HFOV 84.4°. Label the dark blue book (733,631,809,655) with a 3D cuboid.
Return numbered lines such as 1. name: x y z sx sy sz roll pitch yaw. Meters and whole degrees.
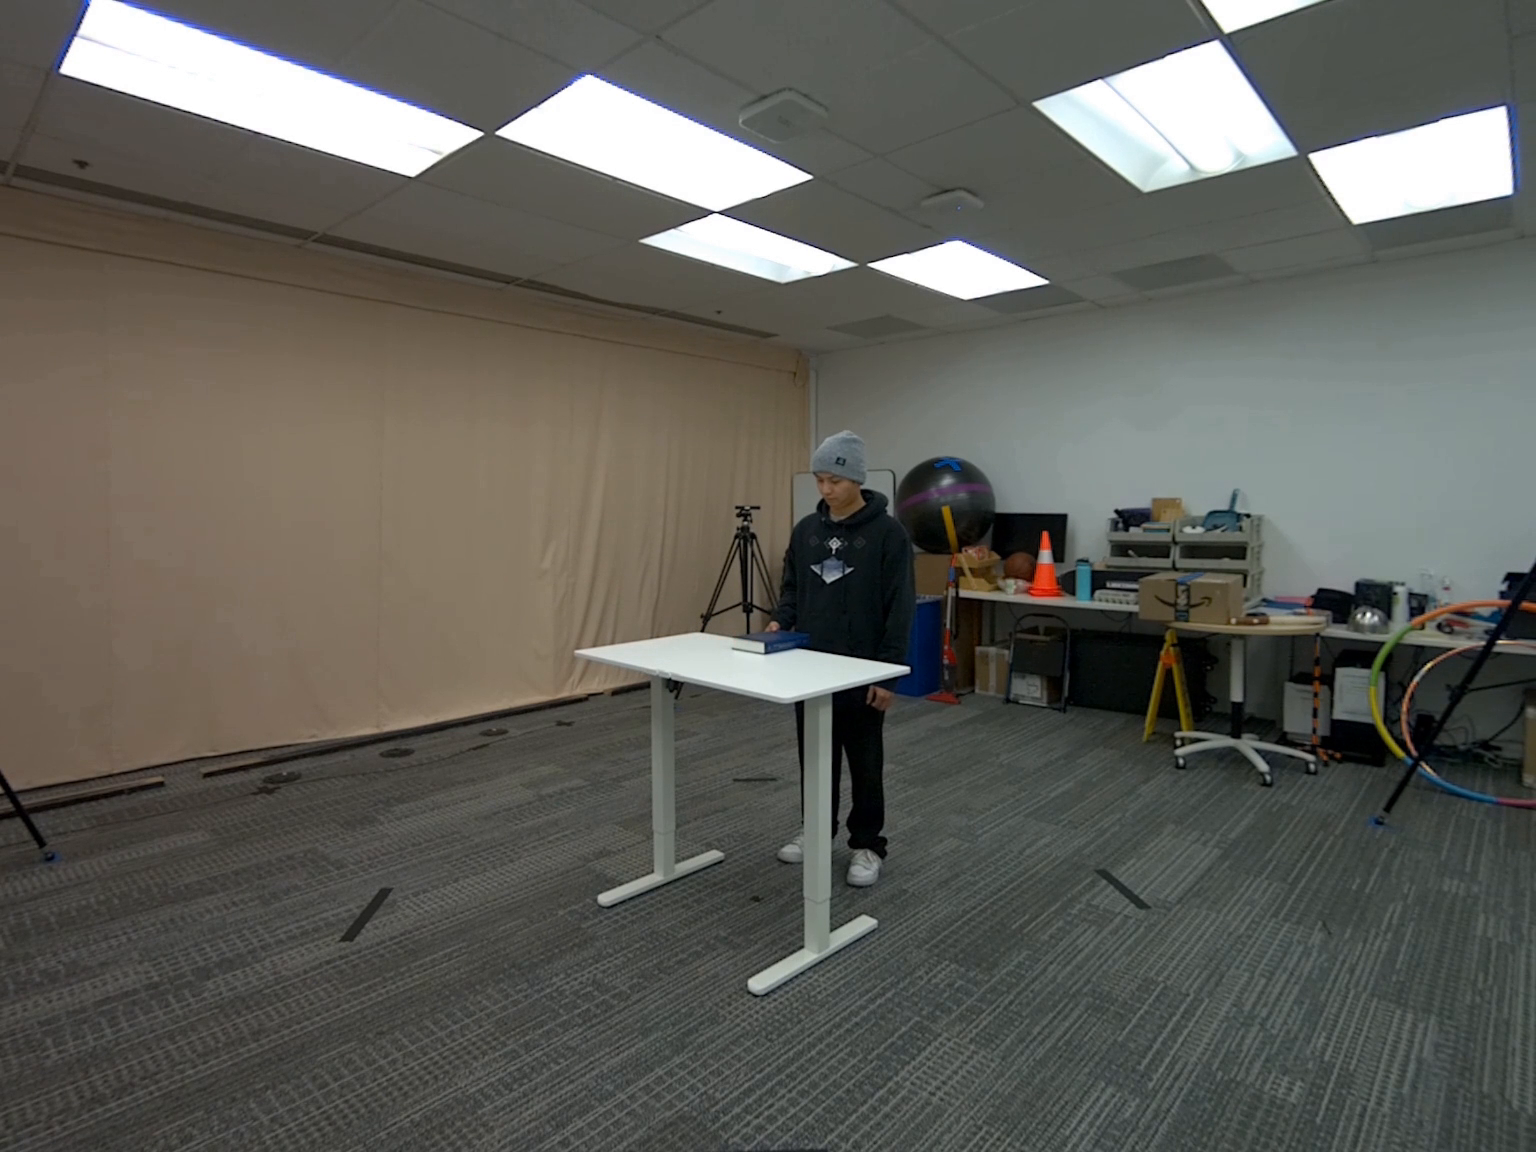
1. dark blue book: 0.014 0.242 3.026 0.169 0.045 0.237 4 6 44
